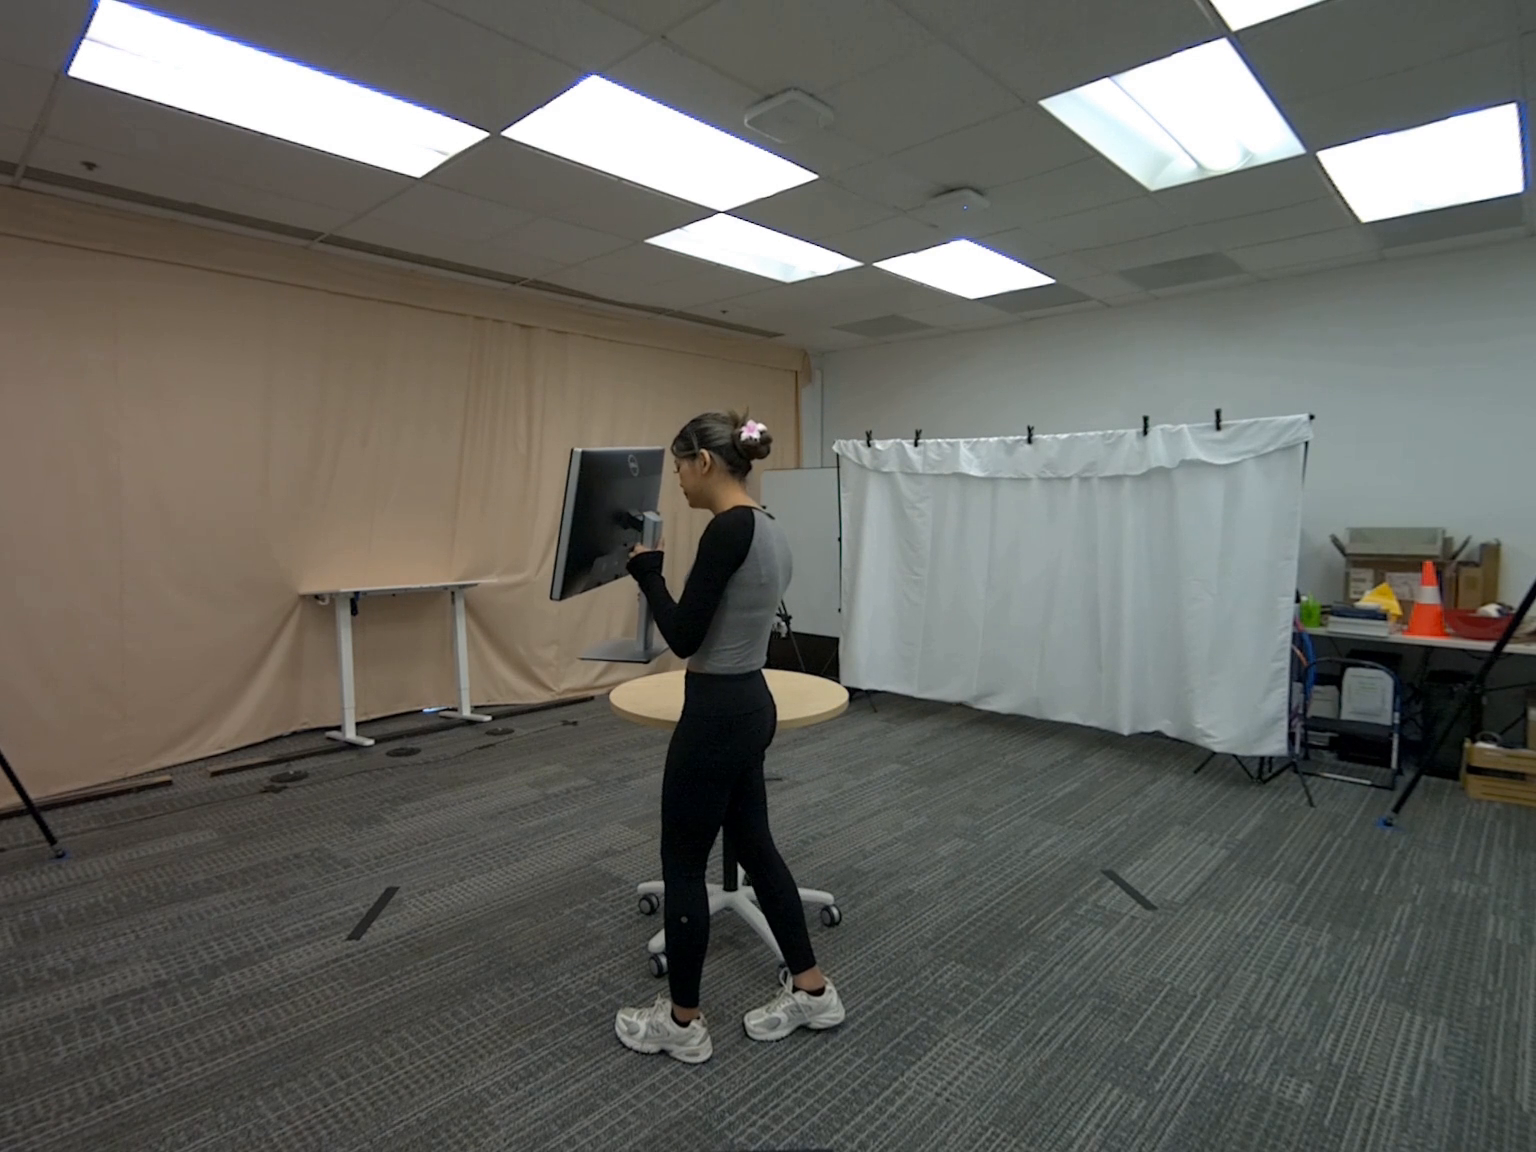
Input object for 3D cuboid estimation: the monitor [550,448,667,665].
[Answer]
[{"bbox_3d":[-0.366,-0.061,2.203,0.190,0.520,0.534,1,9,11],"label":"monitor"}]
